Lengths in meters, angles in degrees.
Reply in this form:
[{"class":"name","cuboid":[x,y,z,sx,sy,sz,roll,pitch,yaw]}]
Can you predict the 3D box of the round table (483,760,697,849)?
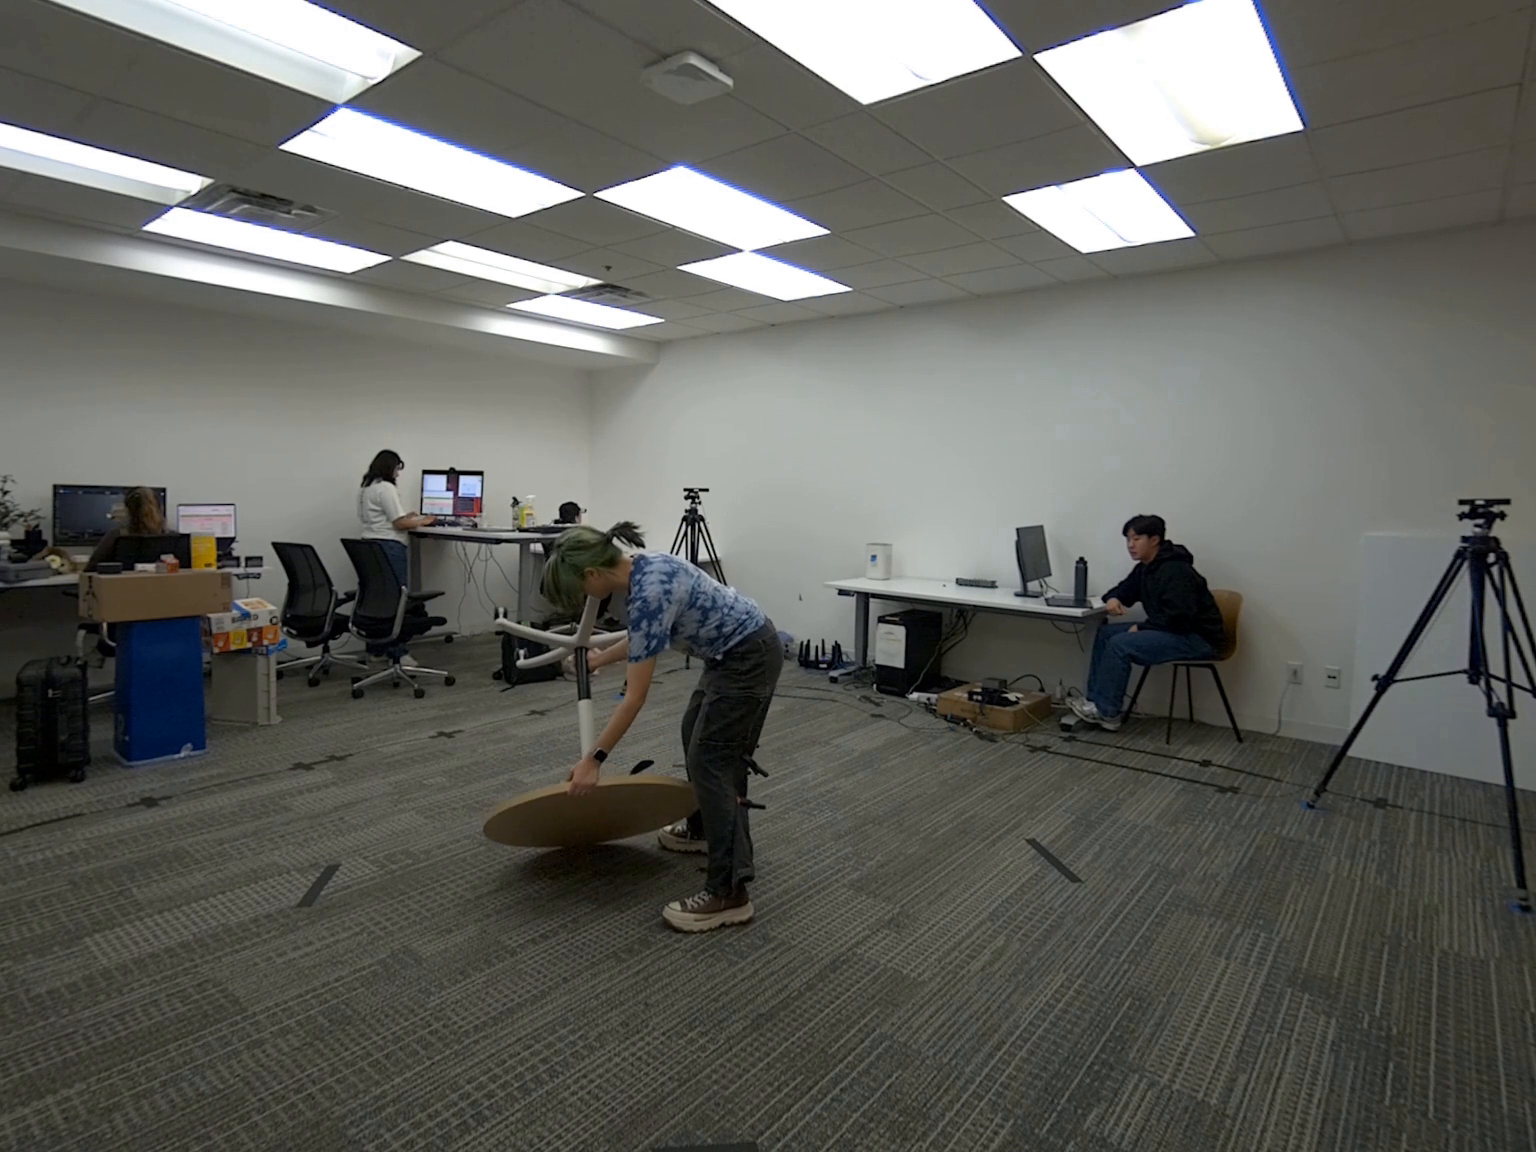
[{"class":"round table","cuboid":[-0.704,0.514,3.204,0.760,0.818,0.745,-9,-30,-7]}]
